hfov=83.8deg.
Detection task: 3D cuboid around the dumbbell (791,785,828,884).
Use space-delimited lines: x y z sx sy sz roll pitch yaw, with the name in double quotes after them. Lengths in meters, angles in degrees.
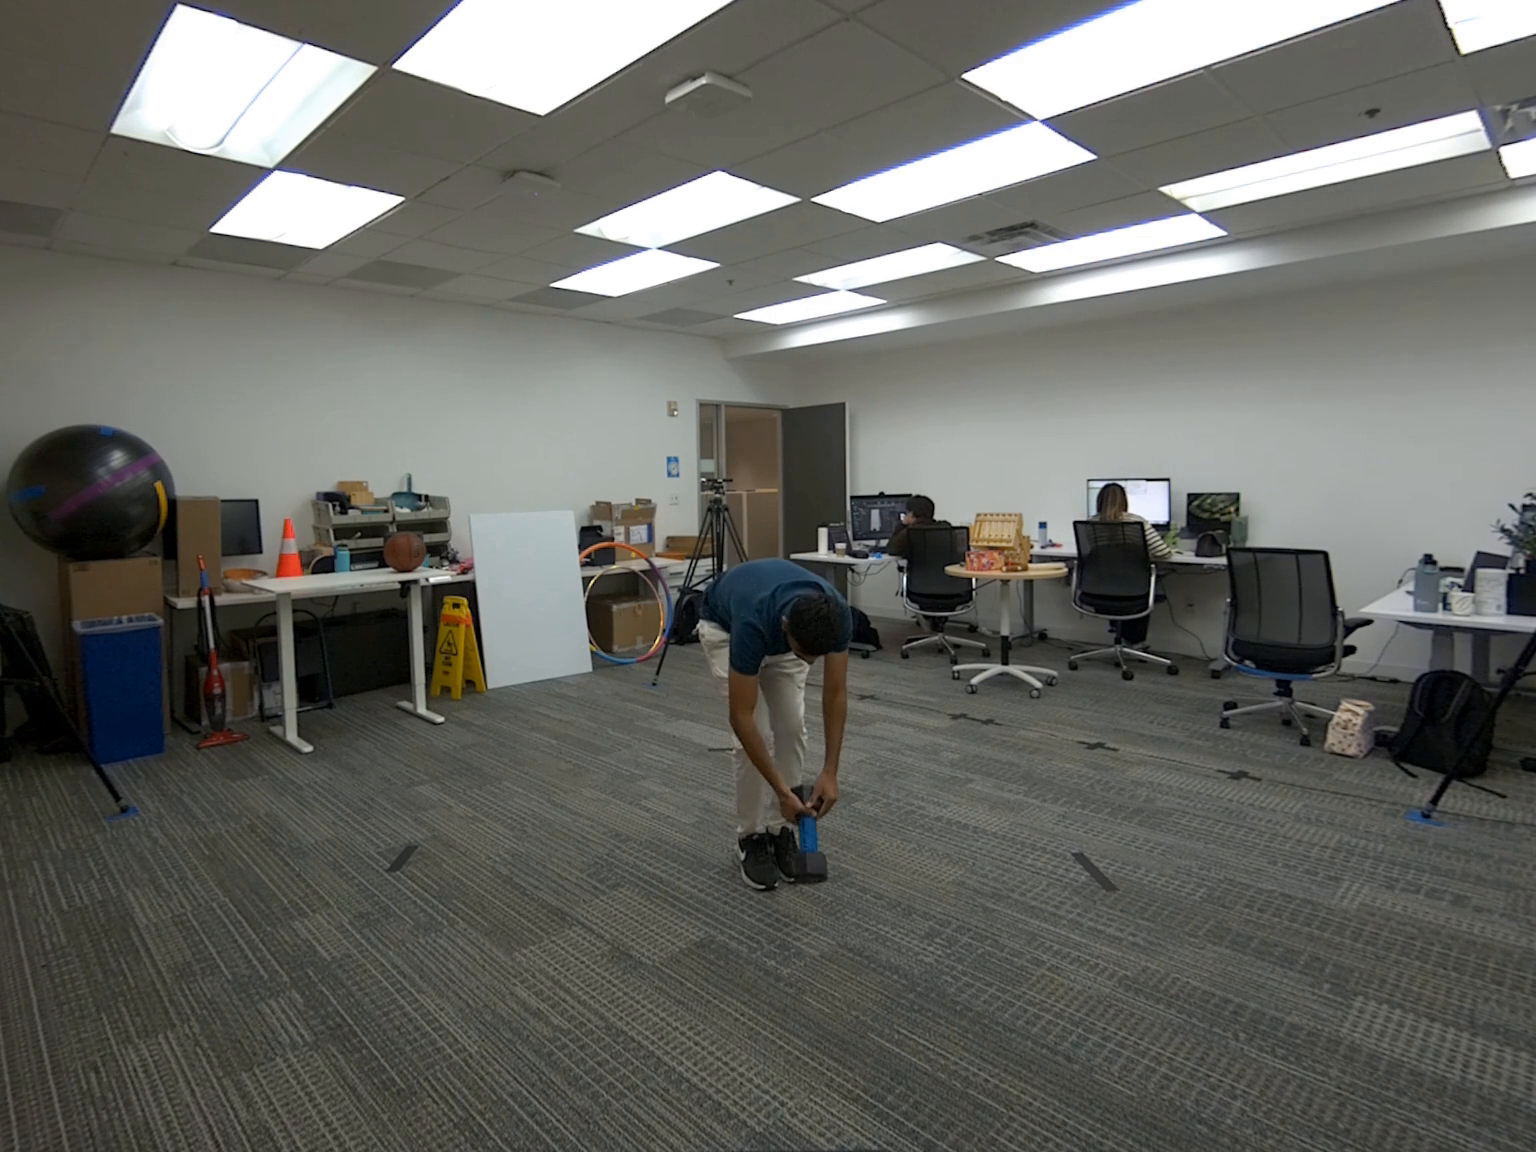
0.135 0.837 2.758 0.124 0.301 0.104 -27 -43 30 "dumbbell"
